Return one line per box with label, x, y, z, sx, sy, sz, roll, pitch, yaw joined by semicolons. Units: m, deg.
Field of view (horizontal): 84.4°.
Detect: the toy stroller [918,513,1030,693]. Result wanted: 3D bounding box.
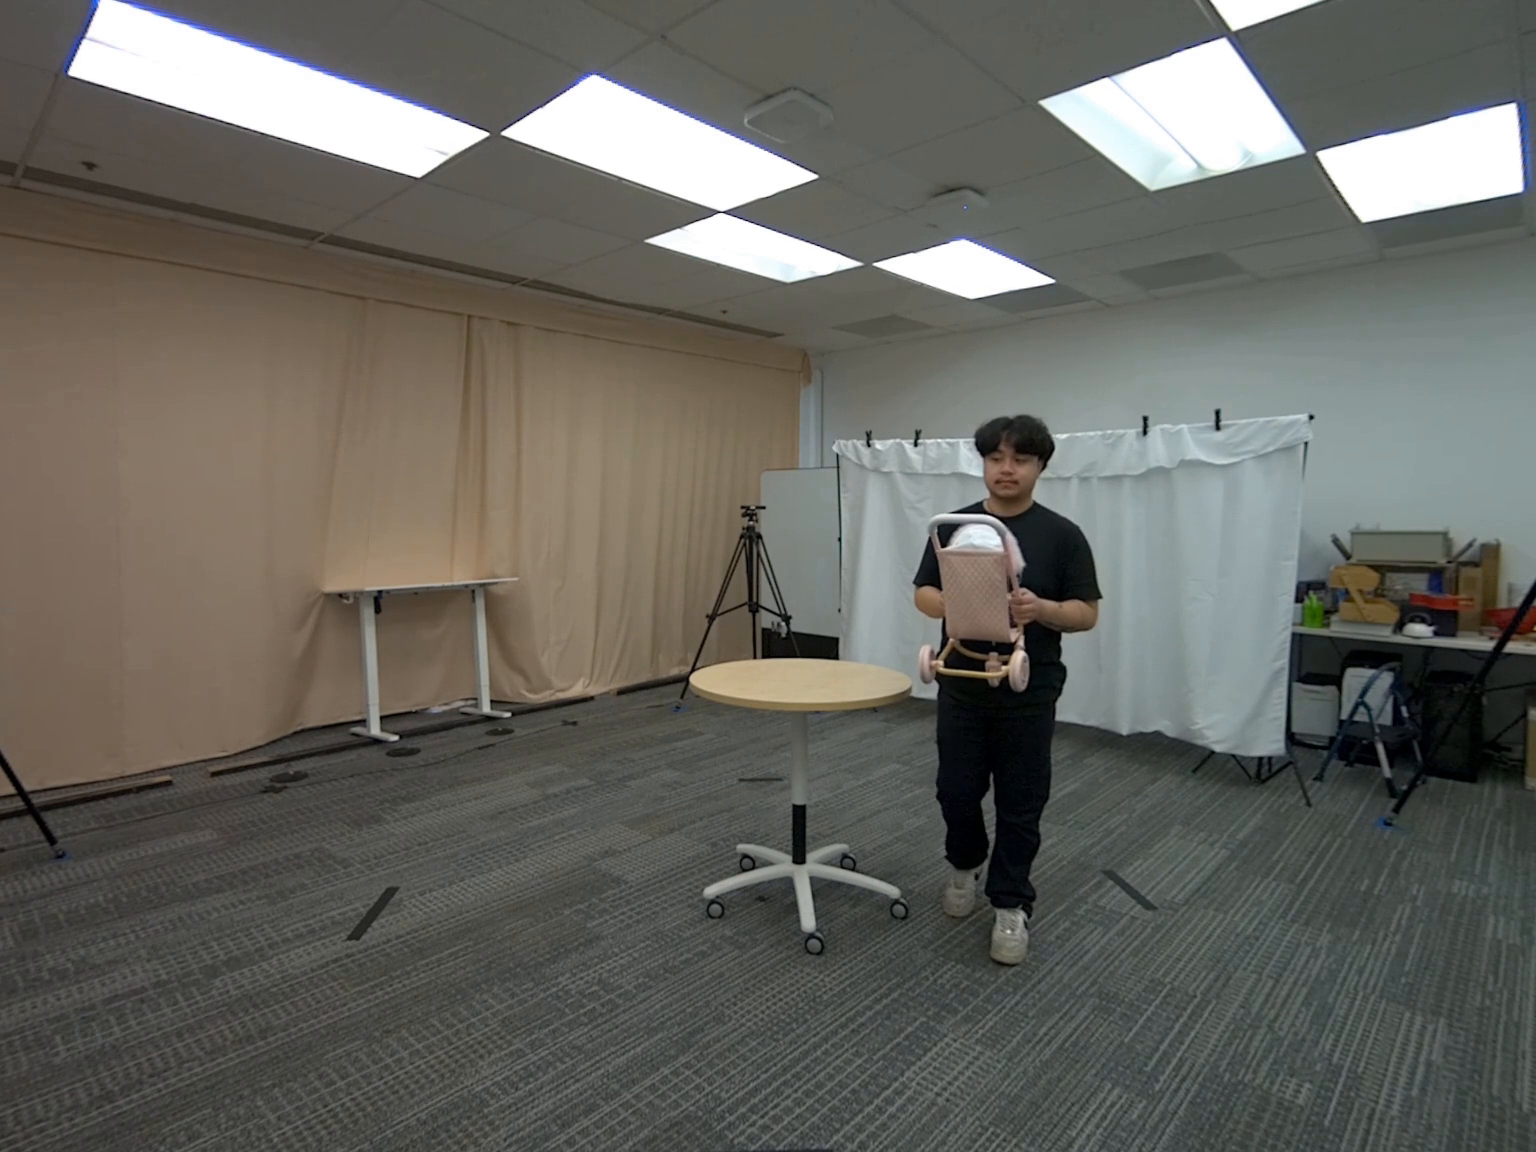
toy stroller;0.611;0.084;2.380;0.290;0.533;0.332;0;6;33
